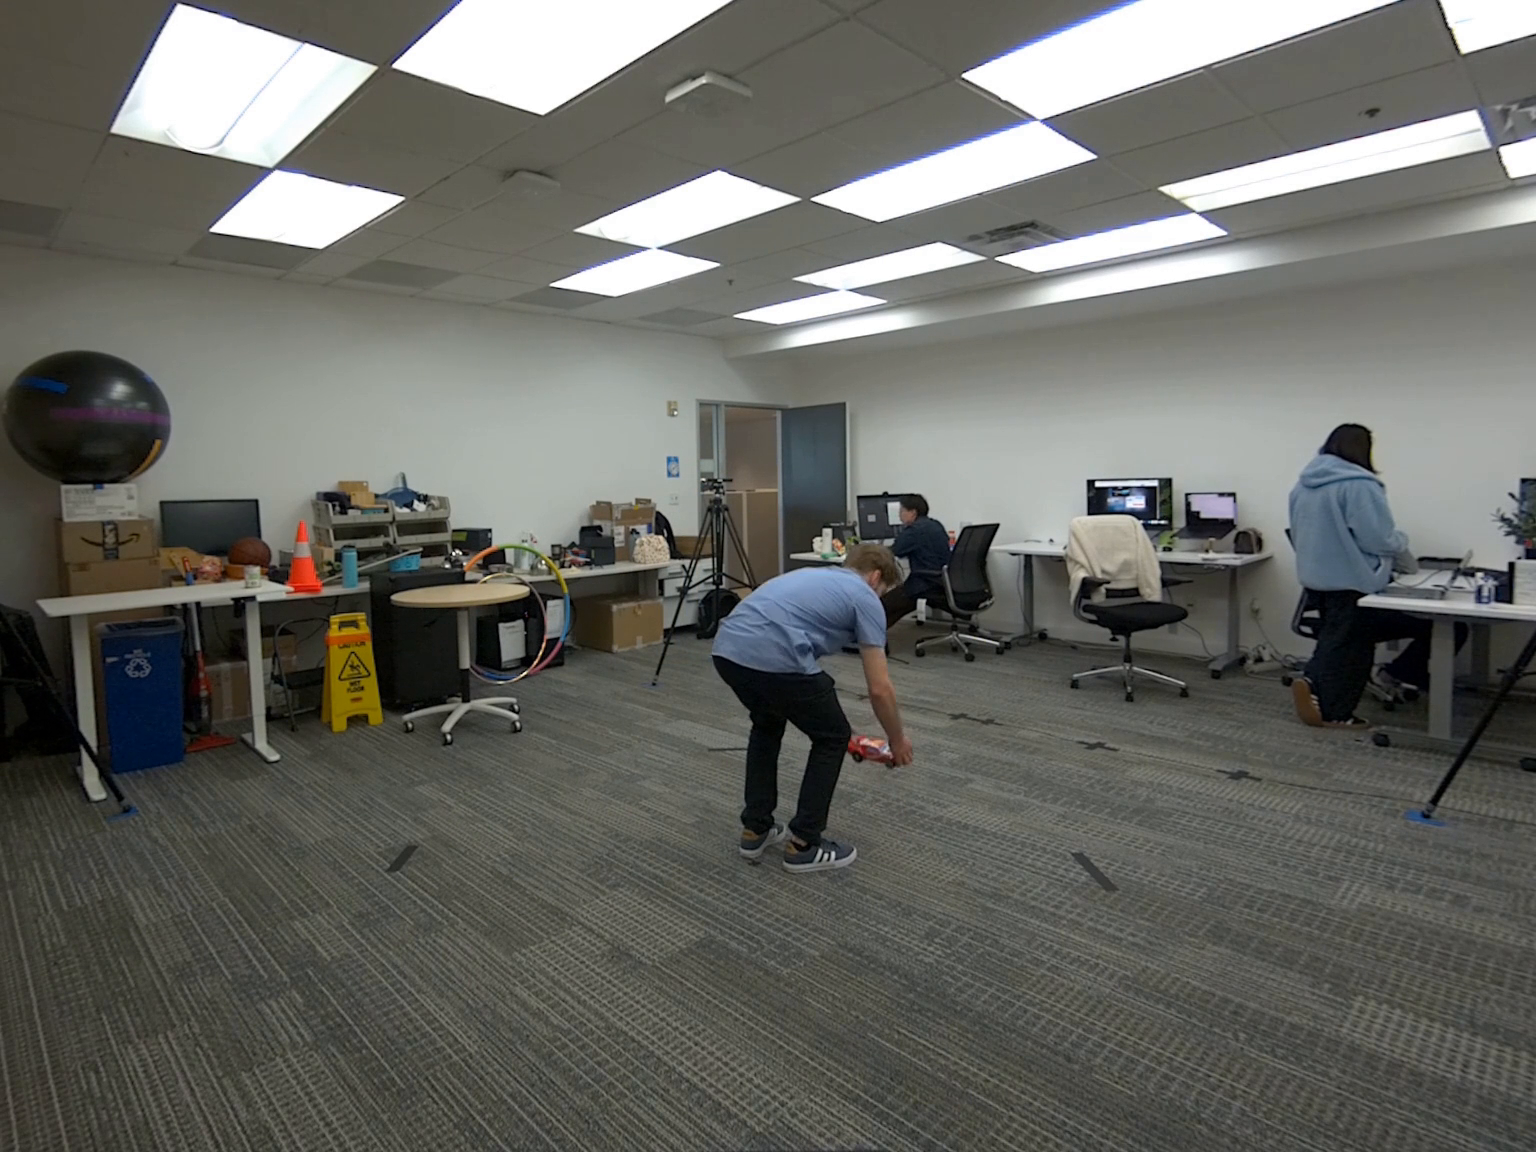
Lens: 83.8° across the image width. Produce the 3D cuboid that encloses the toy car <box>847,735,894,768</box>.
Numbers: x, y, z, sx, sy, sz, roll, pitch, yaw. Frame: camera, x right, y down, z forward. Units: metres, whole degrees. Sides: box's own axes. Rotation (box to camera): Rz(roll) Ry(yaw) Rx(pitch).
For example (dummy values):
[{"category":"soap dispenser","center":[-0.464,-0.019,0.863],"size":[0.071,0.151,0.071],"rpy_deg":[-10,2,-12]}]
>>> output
[{"category":"toy car","center":[0.410,0.679,3.329],"size":[0.264,0.082,0.127],"rpy_deg":[17,22,42]}]
